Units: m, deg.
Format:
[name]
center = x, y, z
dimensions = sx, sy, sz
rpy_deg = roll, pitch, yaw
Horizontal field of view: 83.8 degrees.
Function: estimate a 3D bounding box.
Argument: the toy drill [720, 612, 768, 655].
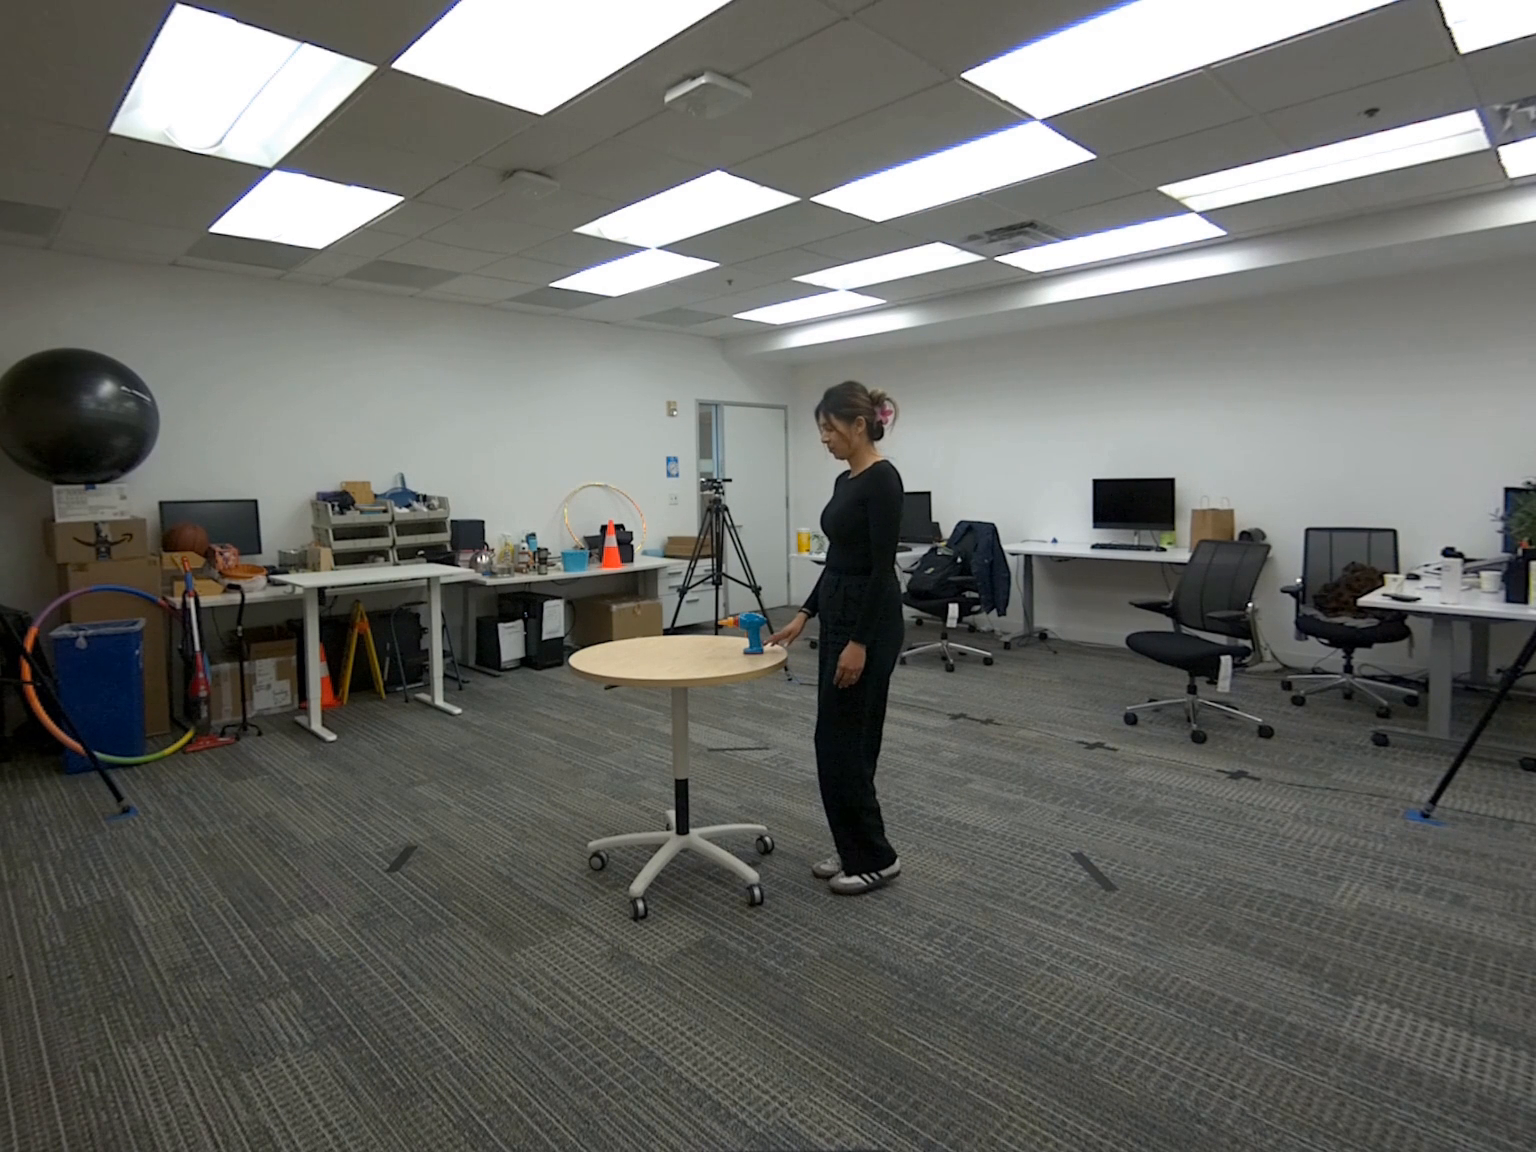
[toy drill]
center = -0.086, 0.197, 2.995
dimensions = 0.169, 0.145, 0.061
rpy_deg = -2, 4, -3
